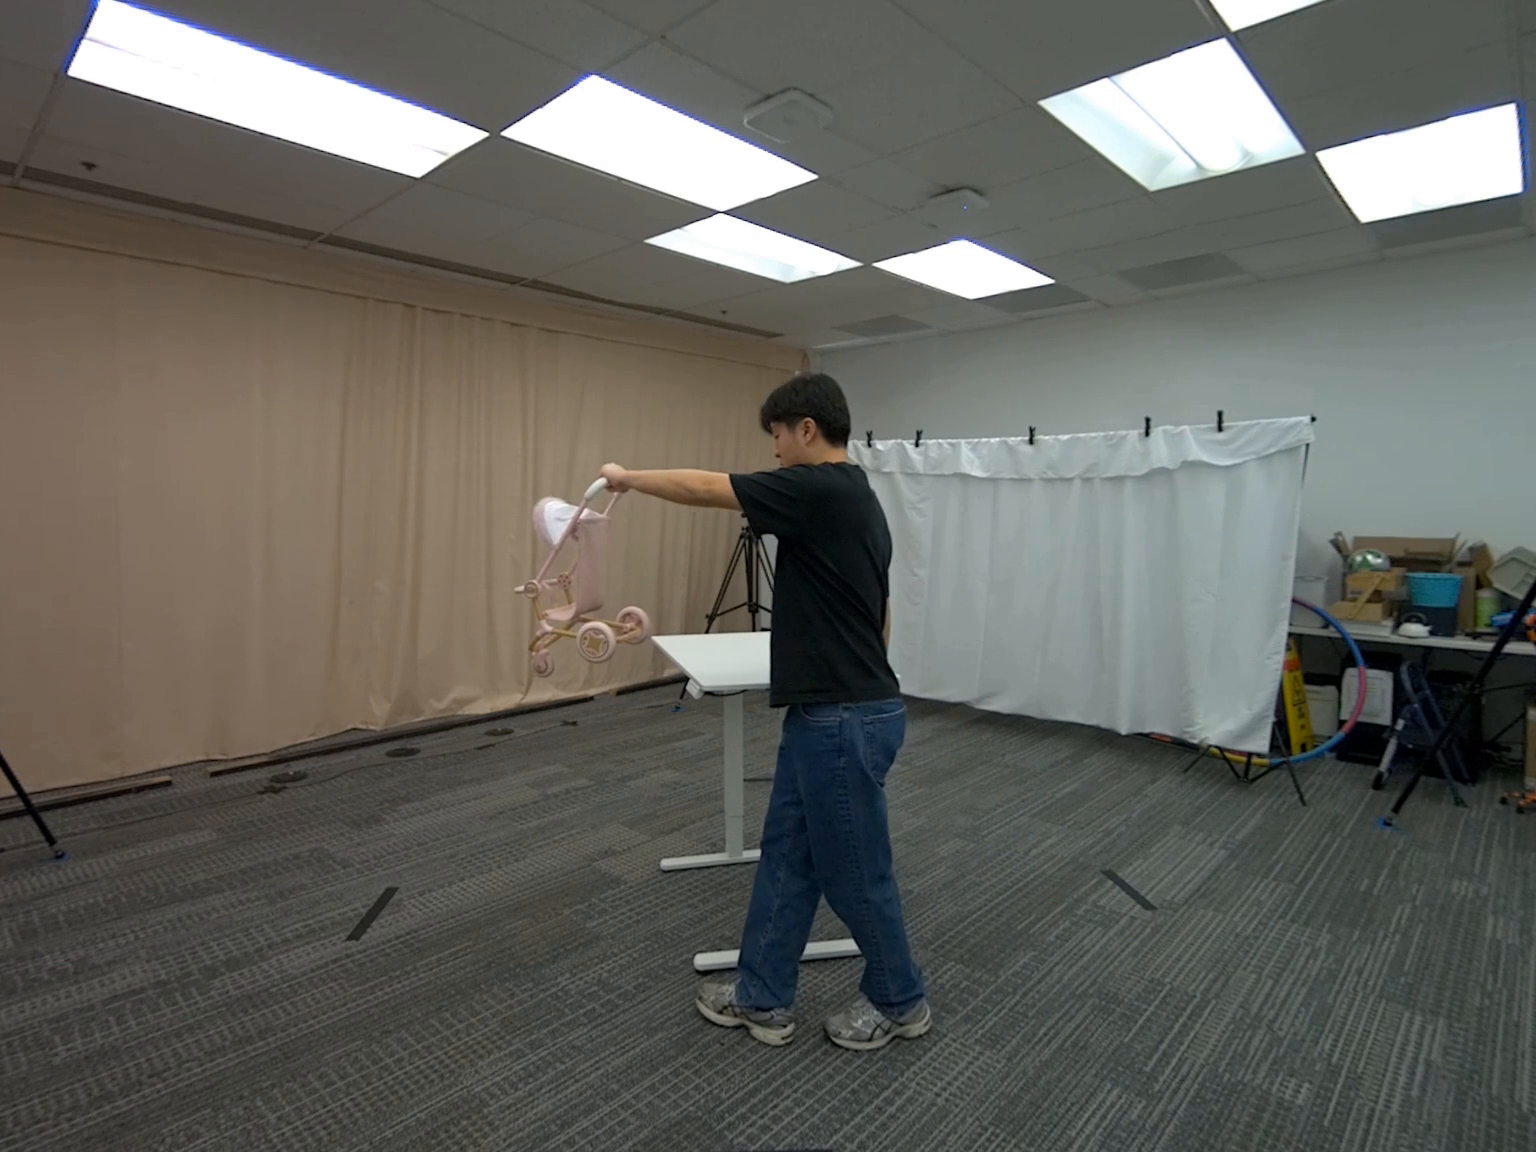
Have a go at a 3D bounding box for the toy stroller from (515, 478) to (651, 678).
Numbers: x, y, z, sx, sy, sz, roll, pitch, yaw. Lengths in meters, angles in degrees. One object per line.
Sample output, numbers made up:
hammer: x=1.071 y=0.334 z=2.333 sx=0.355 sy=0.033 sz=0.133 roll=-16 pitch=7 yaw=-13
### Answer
toy stroller: x=-0.537 y=0.011 z=2.329 sx=0.348 sy=0.534 sz=0.276 roll=-6 pitch=3 yaw=21
